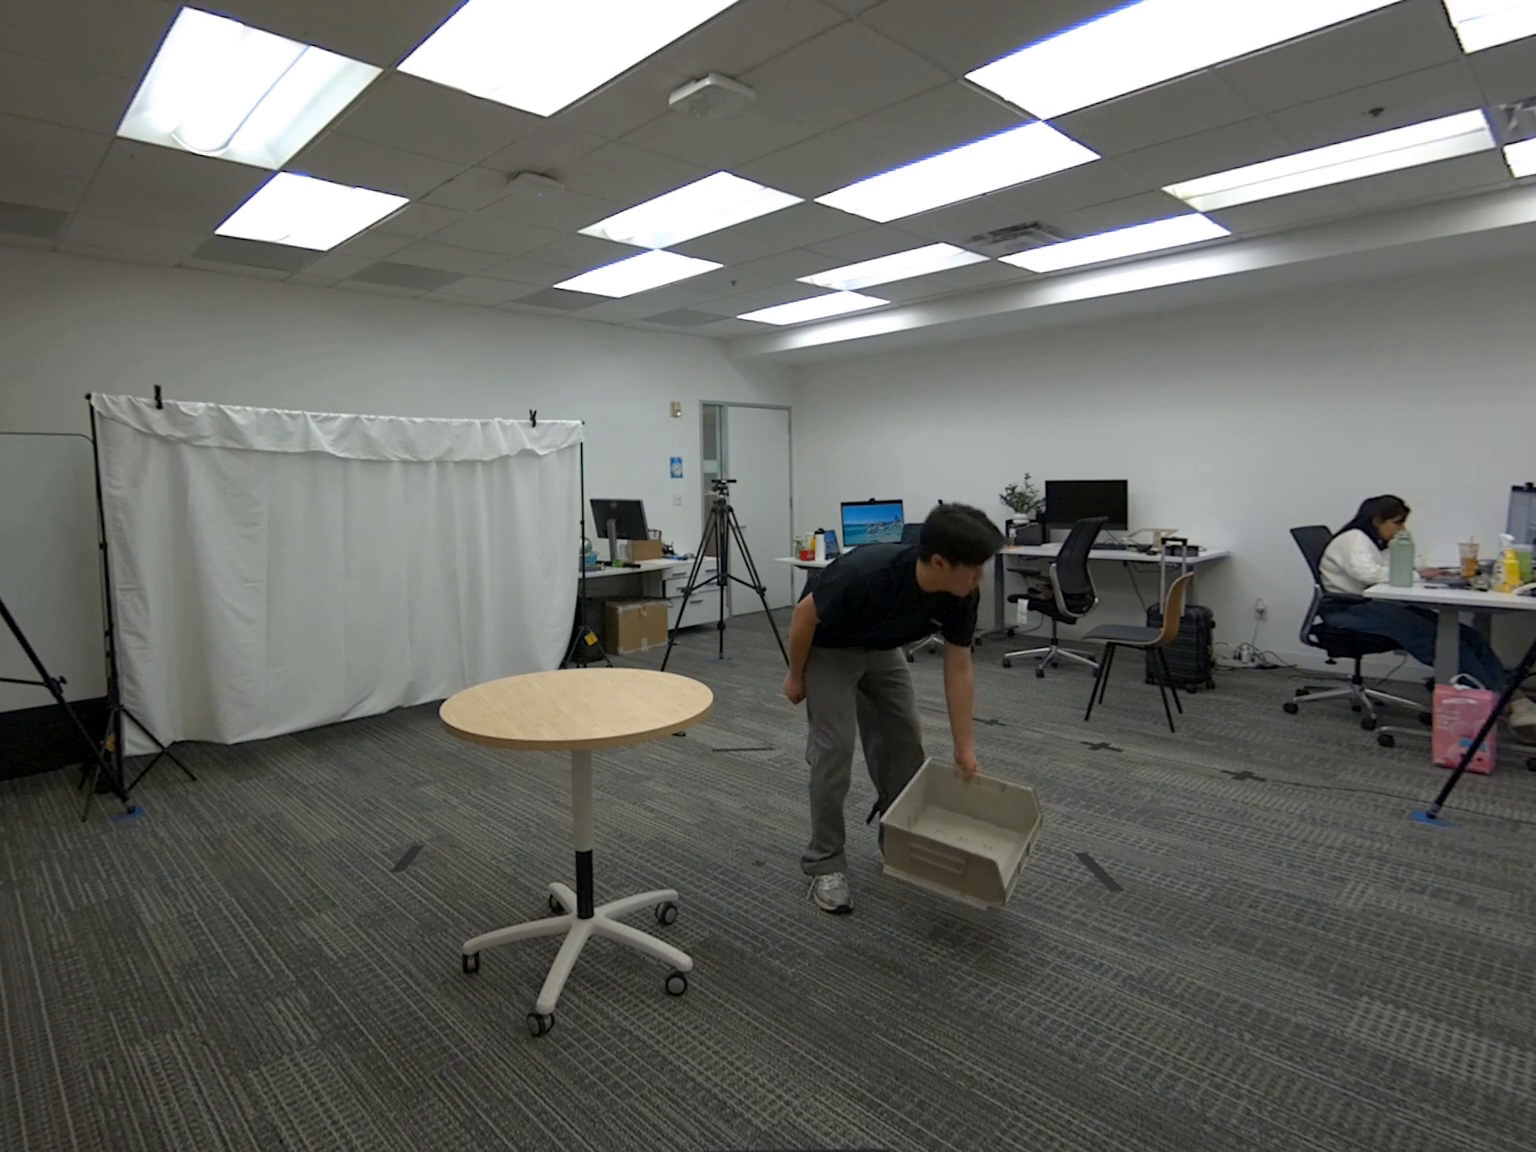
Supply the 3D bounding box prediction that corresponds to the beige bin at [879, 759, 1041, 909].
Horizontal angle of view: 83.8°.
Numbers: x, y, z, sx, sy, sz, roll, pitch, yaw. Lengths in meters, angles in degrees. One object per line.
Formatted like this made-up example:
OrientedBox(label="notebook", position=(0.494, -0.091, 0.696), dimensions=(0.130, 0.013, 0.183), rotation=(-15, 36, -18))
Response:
OrientedBox(label="beige bin", position=(0.604, 0.773, 2.613), dimensions=(0.388, 0.186, 0.417), rotation=(7, 20, 30))
